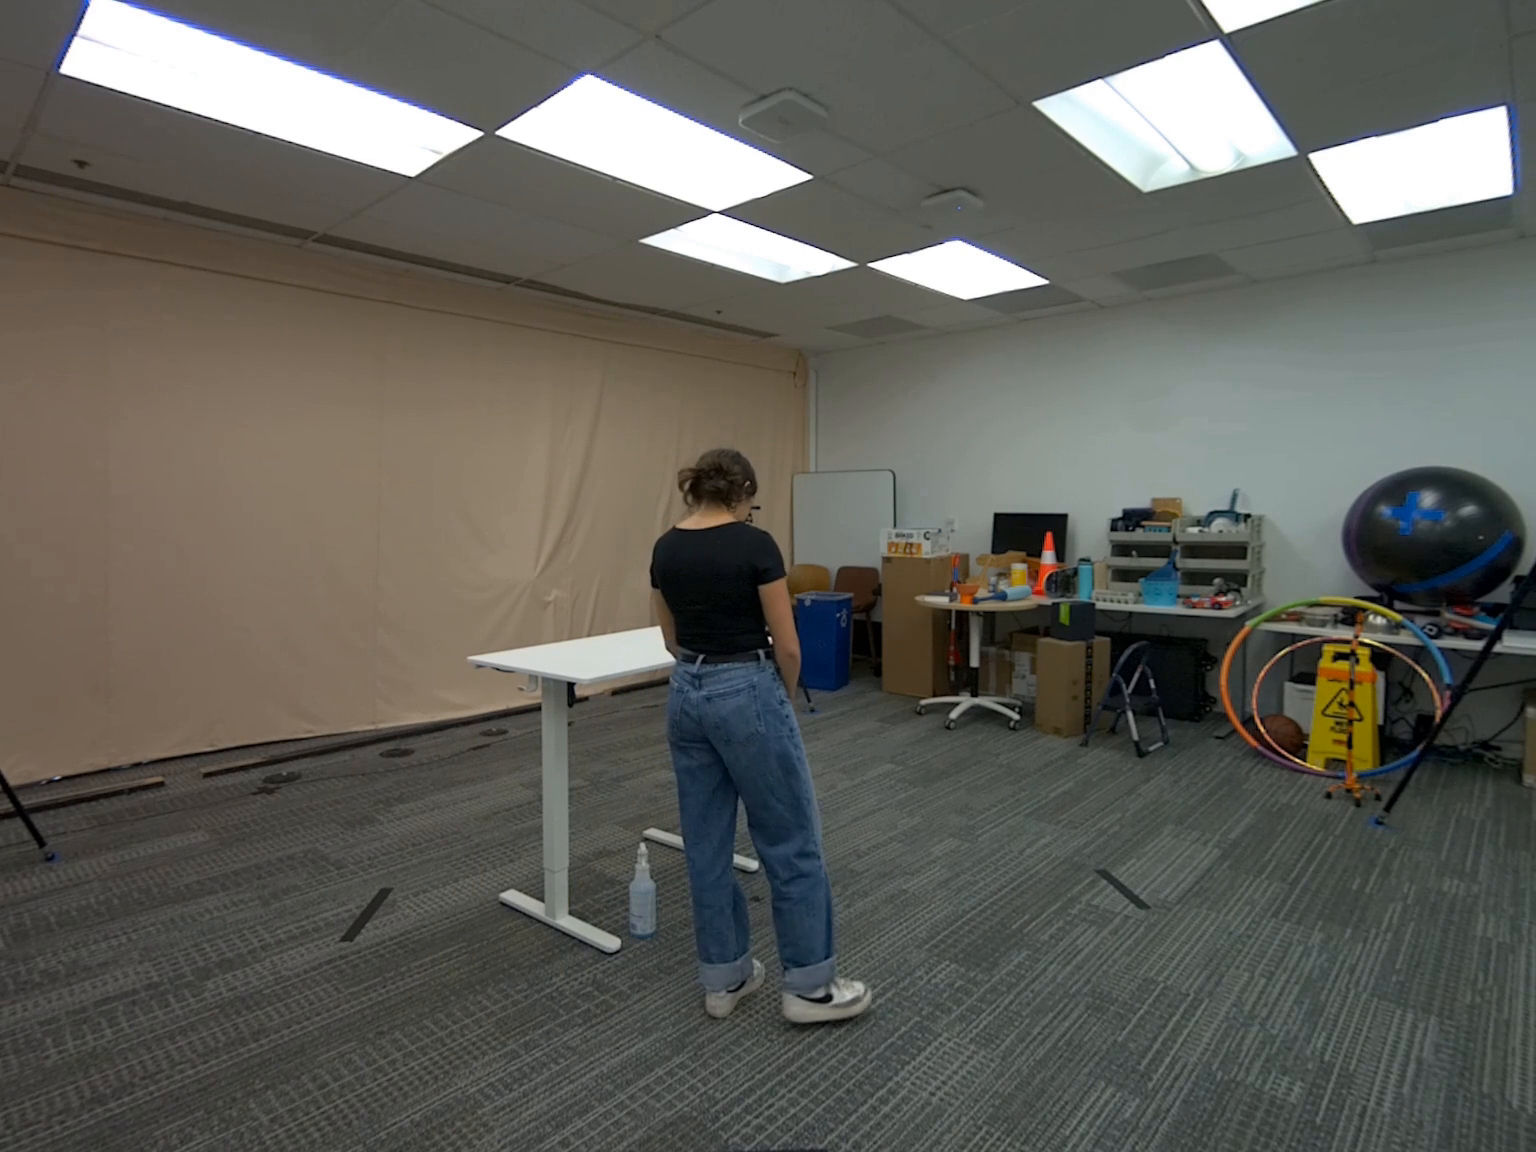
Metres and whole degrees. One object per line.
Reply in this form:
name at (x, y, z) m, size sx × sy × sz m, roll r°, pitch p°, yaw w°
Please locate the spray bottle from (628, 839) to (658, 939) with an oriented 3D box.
spray bottle at (-0.411, 1.028, 2.735) m, size 0.089 × 0.296 × 0.088 m, roll 3°, pitch 6°, yaw 17°
